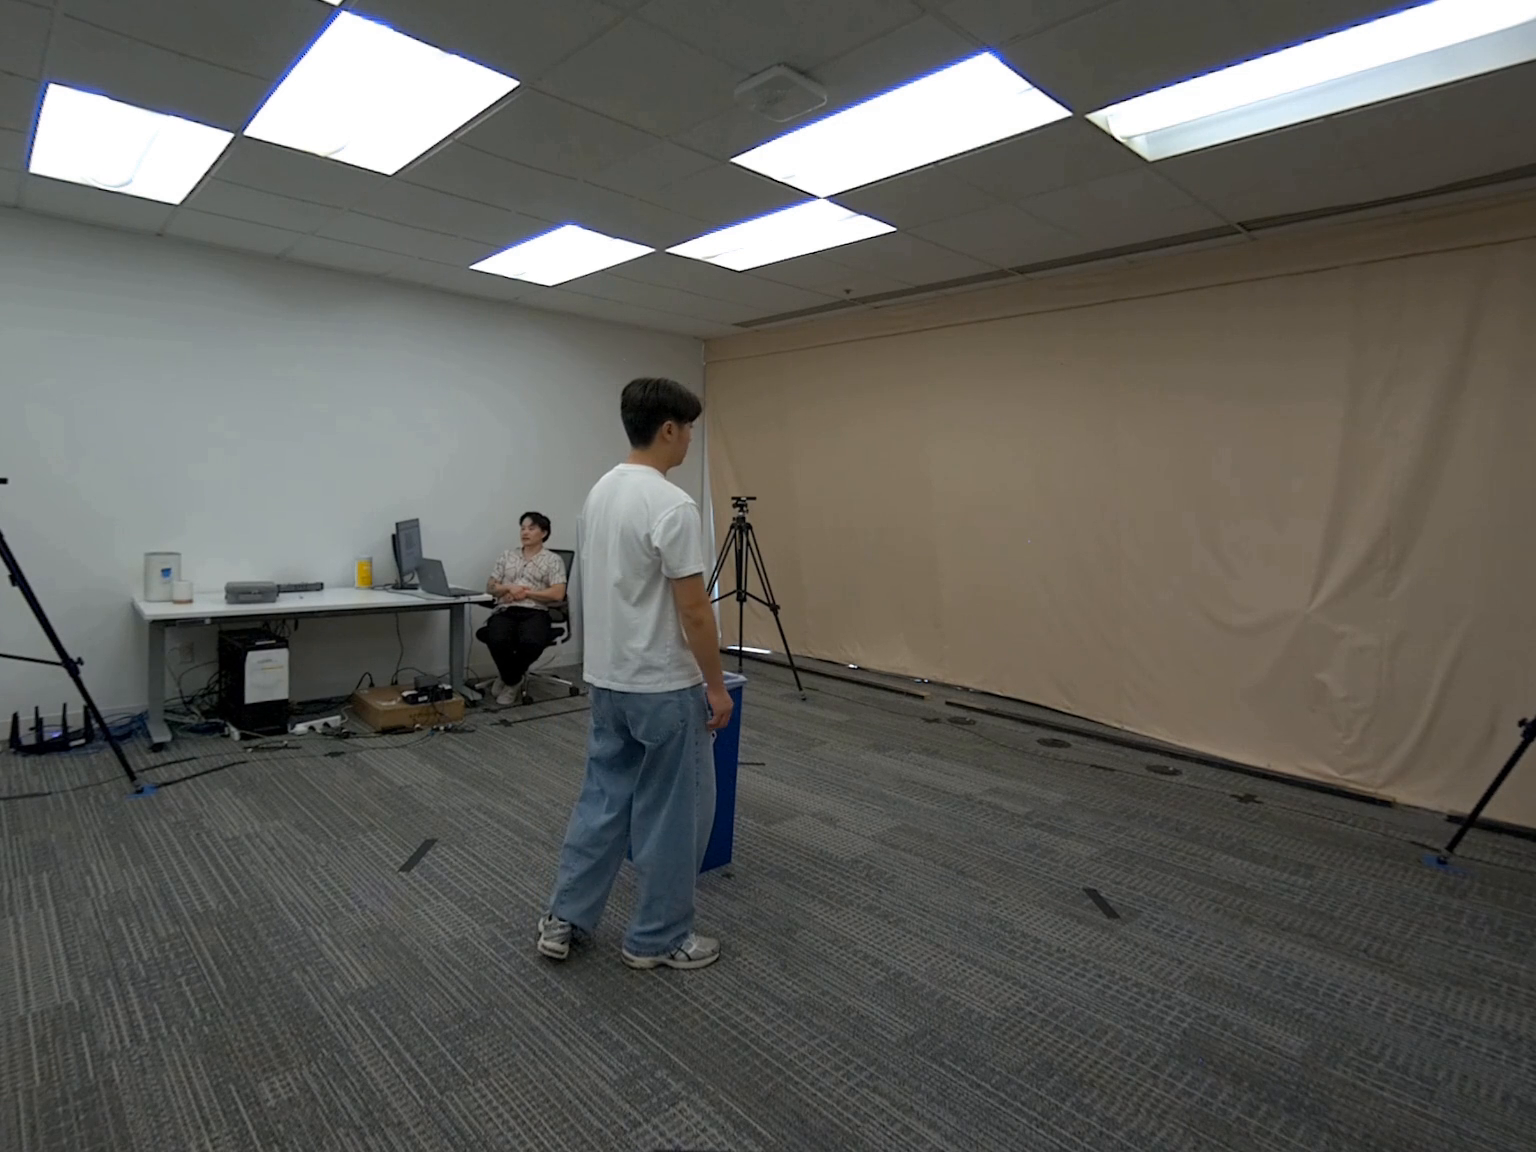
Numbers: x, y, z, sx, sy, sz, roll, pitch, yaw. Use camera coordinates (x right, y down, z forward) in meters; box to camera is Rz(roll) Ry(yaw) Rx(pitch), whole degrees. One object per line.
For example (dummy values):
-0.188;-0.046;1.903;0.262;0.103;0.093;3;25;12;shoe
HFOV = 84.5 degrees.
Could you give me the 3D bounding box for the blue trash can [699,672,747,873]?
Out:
-0.336;0.735;3.227;0.365;0.712;0.388;-2;5;-43;blue trash can
